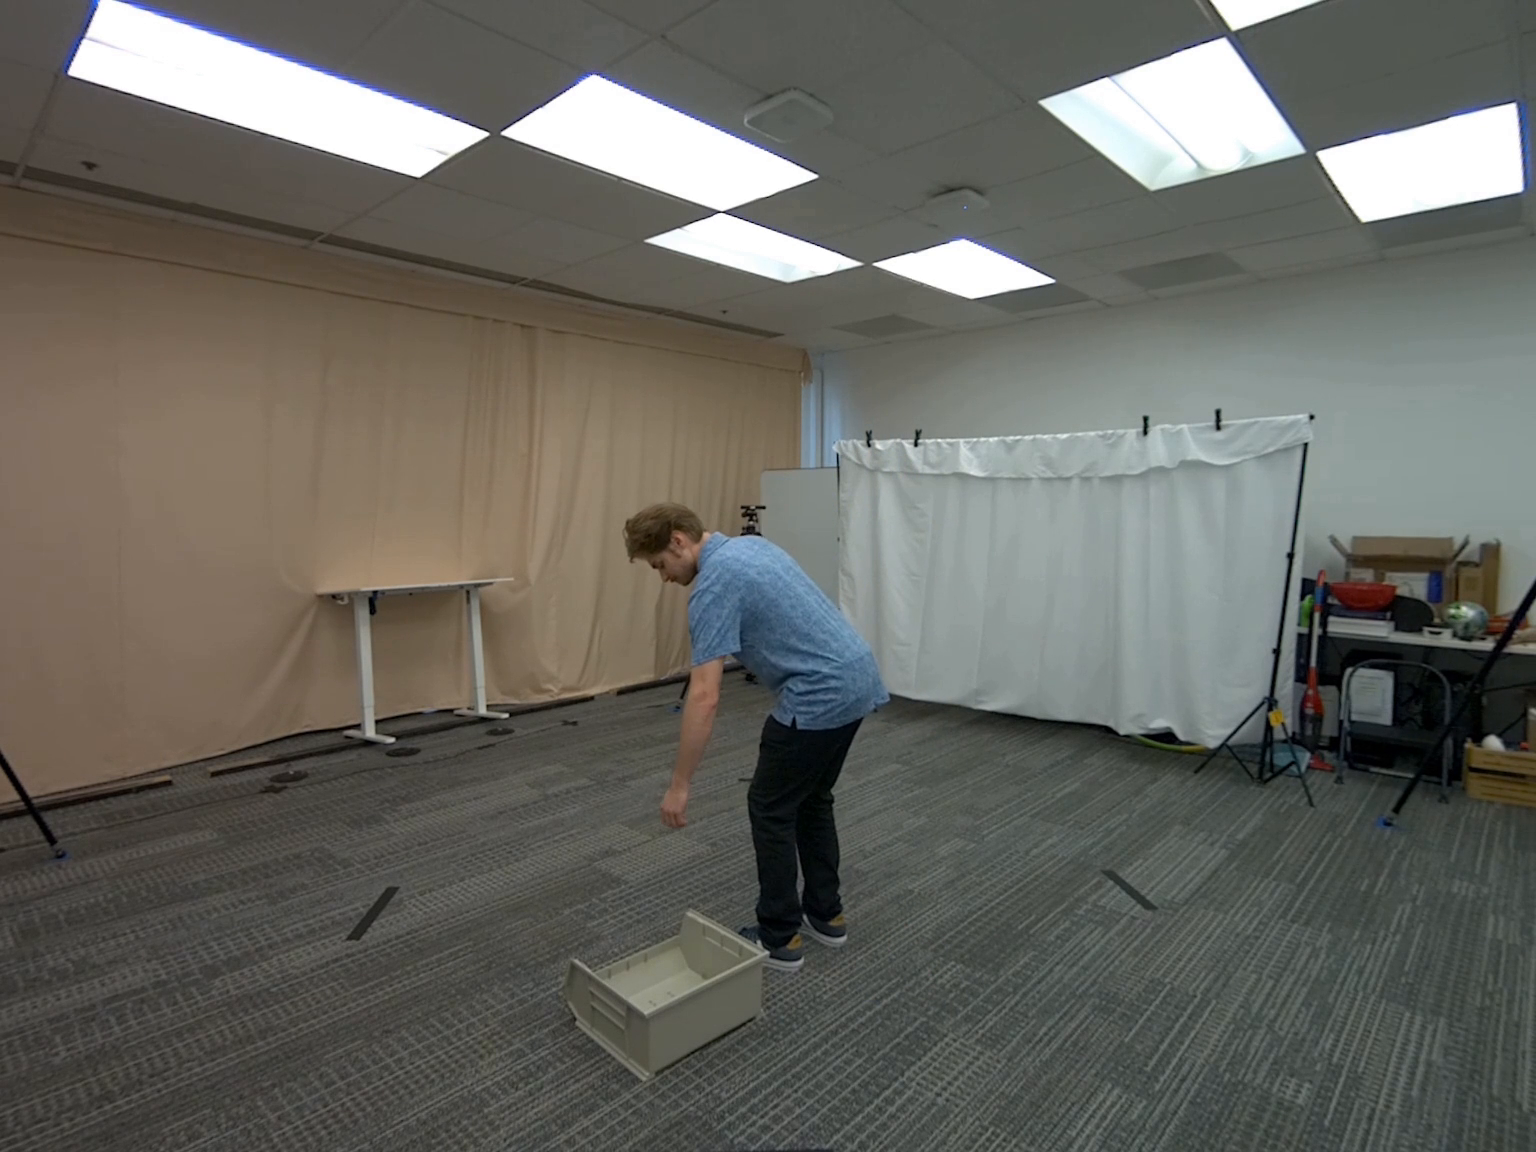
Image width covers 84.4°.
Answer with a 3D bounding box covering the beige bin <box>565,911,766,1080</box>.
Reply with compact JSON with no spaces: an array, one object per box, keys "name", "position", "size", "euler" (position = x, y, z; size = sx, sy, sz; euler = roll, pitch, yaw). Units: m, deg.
[{"name":"beige bin","position":[-0.277,1.116,2.293],"size":[0.409,0.188,0.390],"euler":[-3,7,-43]}]
